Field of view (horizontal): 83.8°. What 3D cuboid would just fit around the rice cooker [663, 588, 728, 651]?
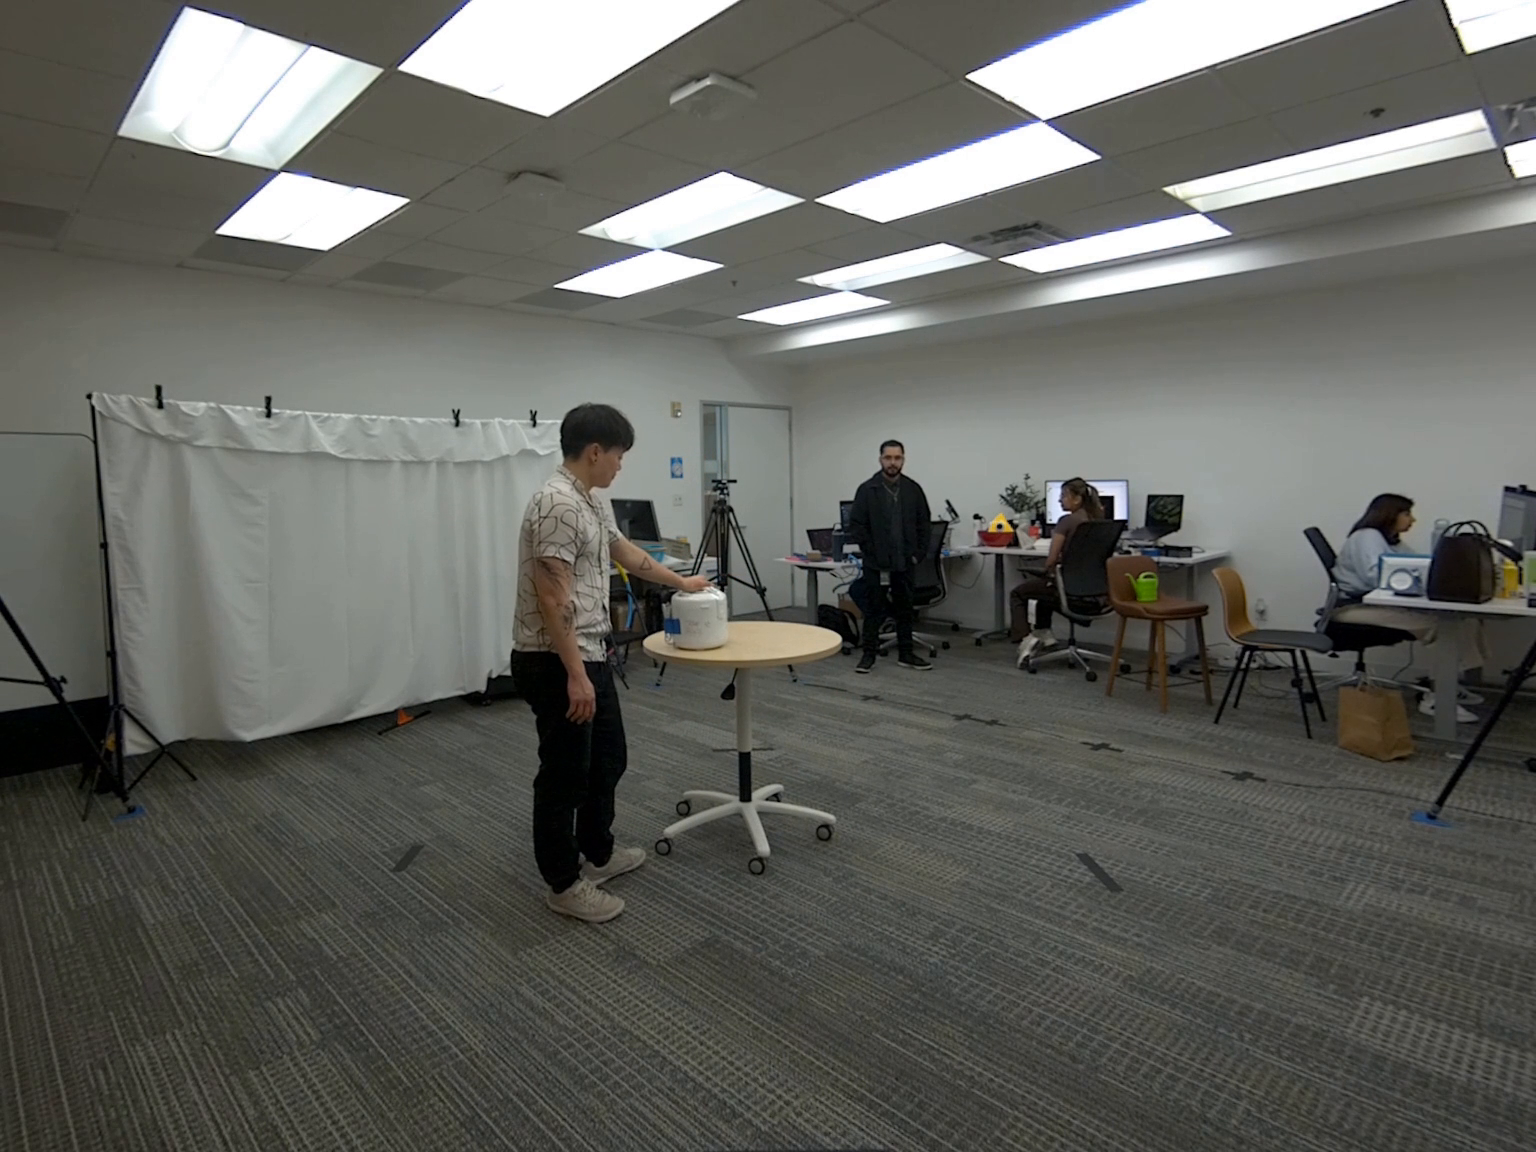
[{"bbox_3d":[-0.254,0.145,3.187,0.227,0.231,0.212,3,8,37],"label":"rice cooker"}]
